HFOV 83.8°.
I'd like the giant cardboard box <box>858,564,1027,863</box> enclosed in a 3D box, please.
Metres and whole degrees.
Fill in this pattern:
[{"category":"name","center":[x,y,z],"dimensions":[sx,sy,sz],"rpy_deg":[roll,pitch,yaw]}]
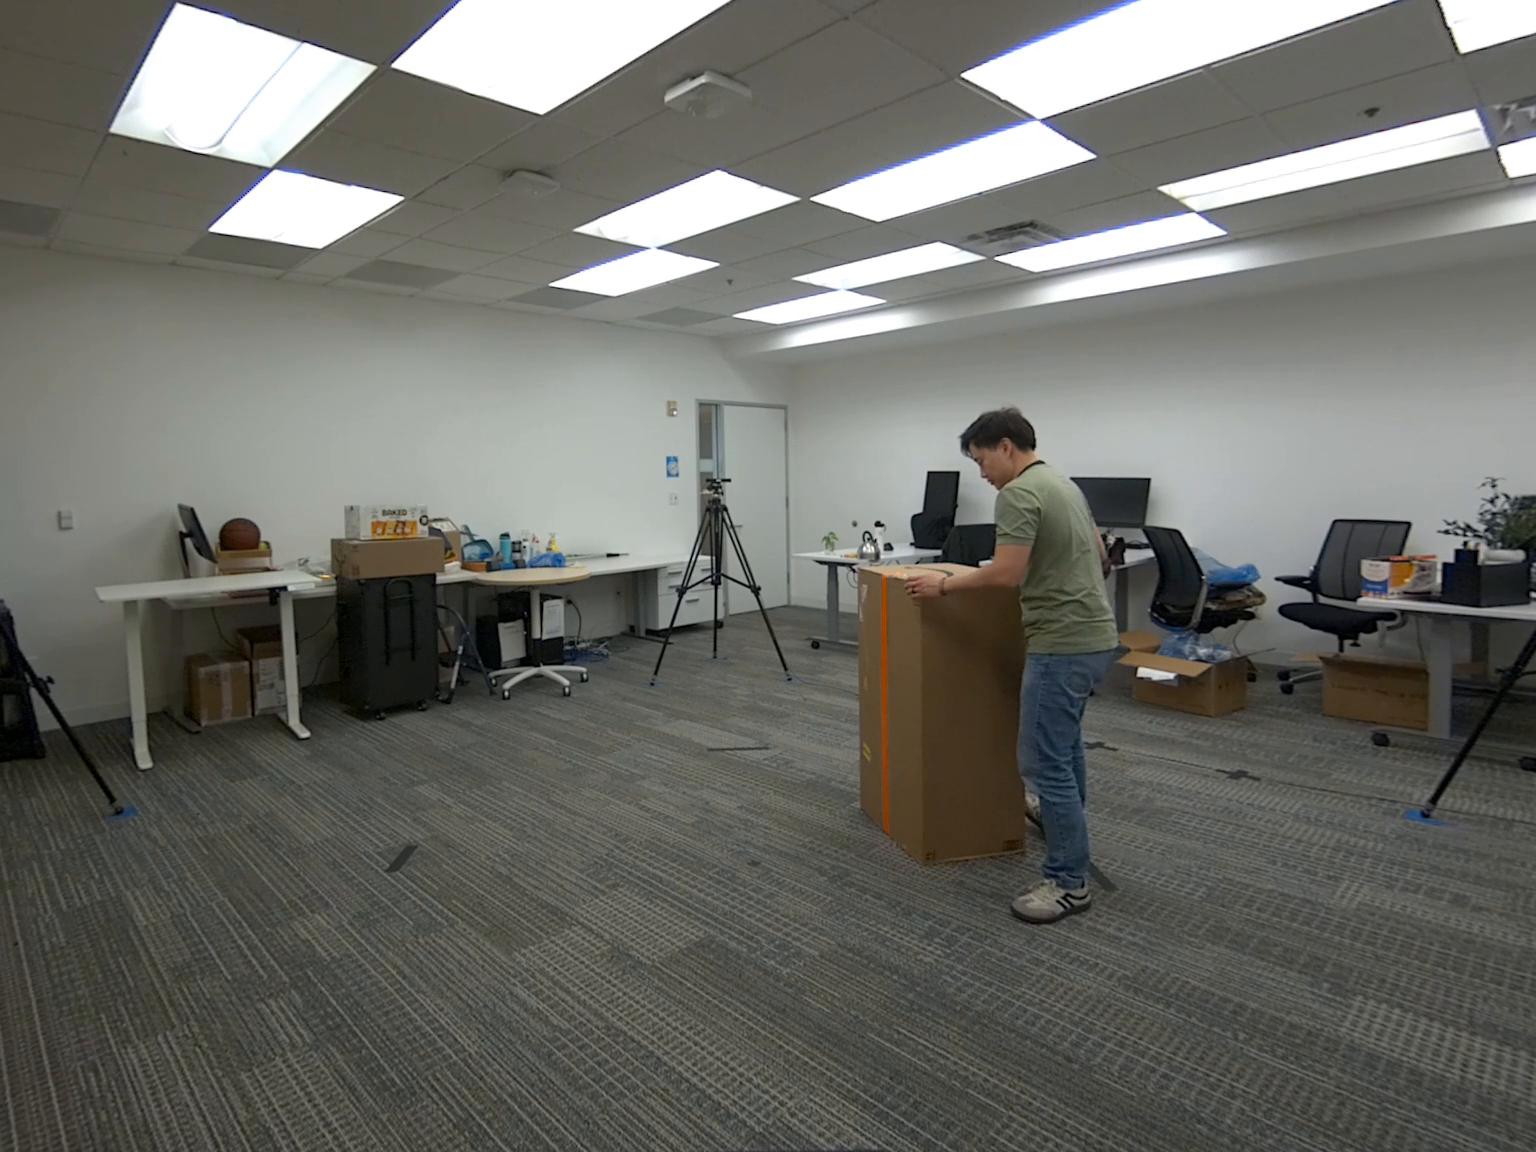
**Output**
[{"category":"giant cardboard box","center":[0.658,0.493,3.350],"dimensions":[0.420,1.022,0.588],"rpy_deg":[-2,4,-15]}]
